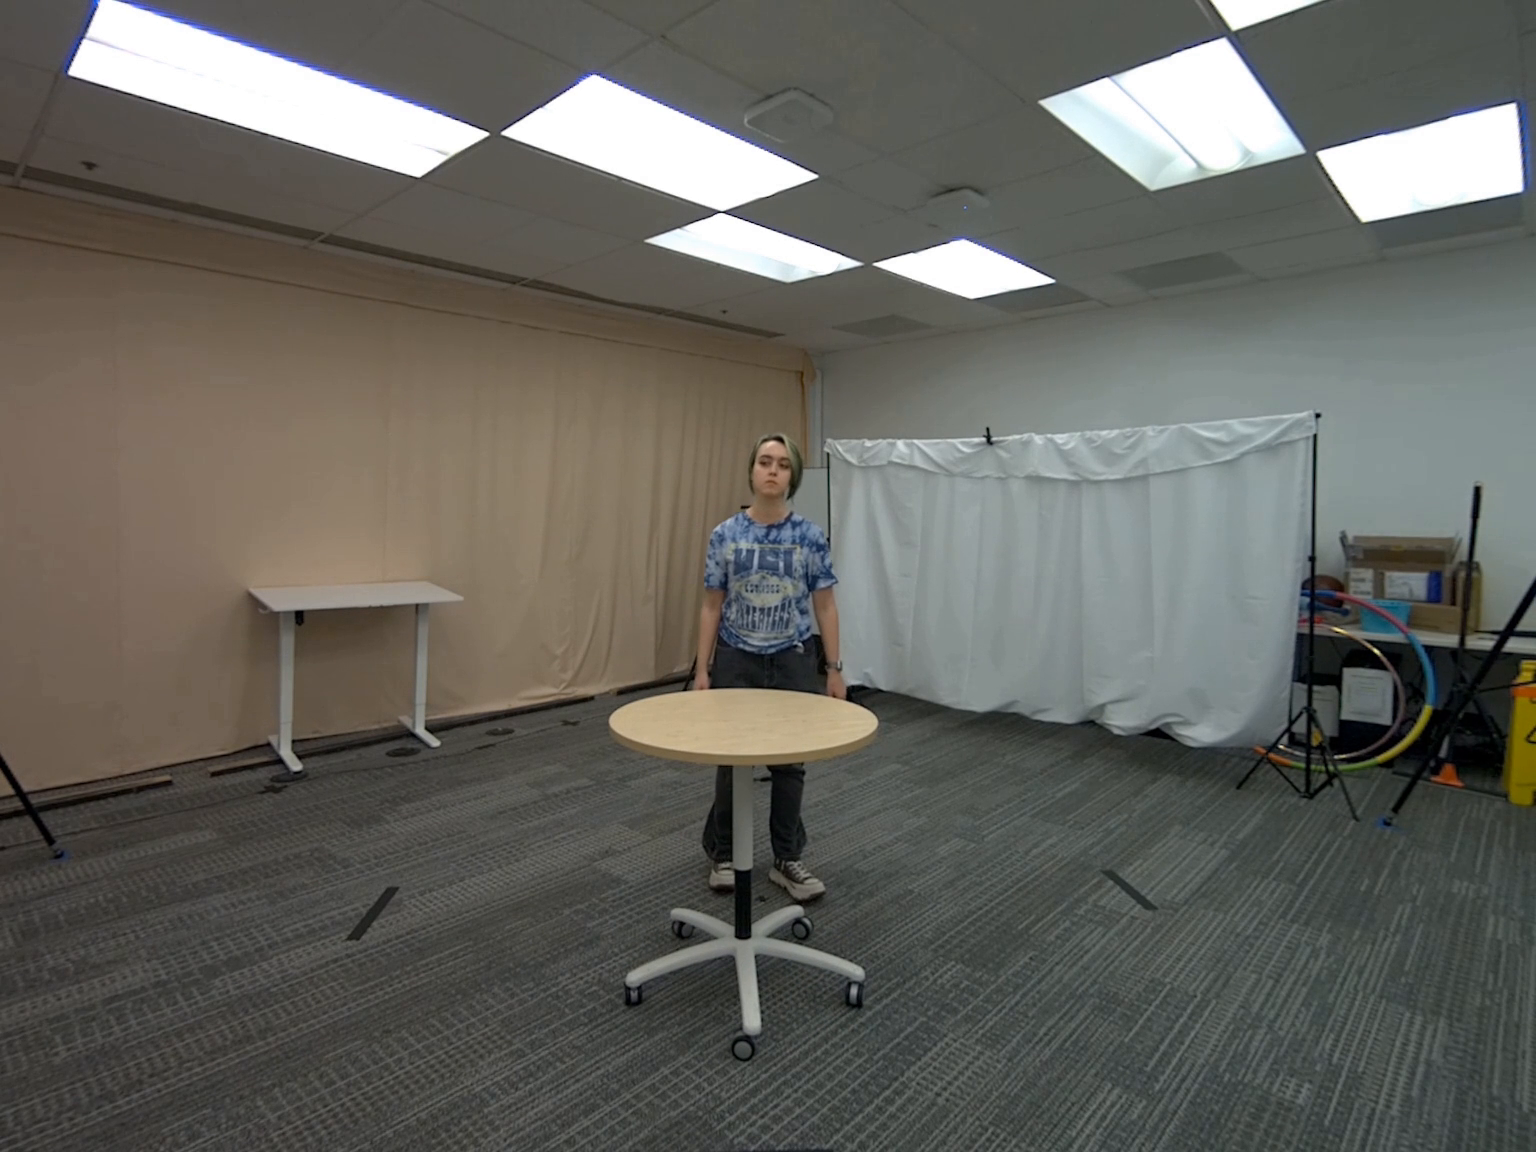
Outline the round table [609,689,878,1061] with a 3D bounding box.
[{"bbox_3d":[-0.075,0.798,2.443,0.763,0.792,0.766,0,3,-2],"label":"round table"}]
